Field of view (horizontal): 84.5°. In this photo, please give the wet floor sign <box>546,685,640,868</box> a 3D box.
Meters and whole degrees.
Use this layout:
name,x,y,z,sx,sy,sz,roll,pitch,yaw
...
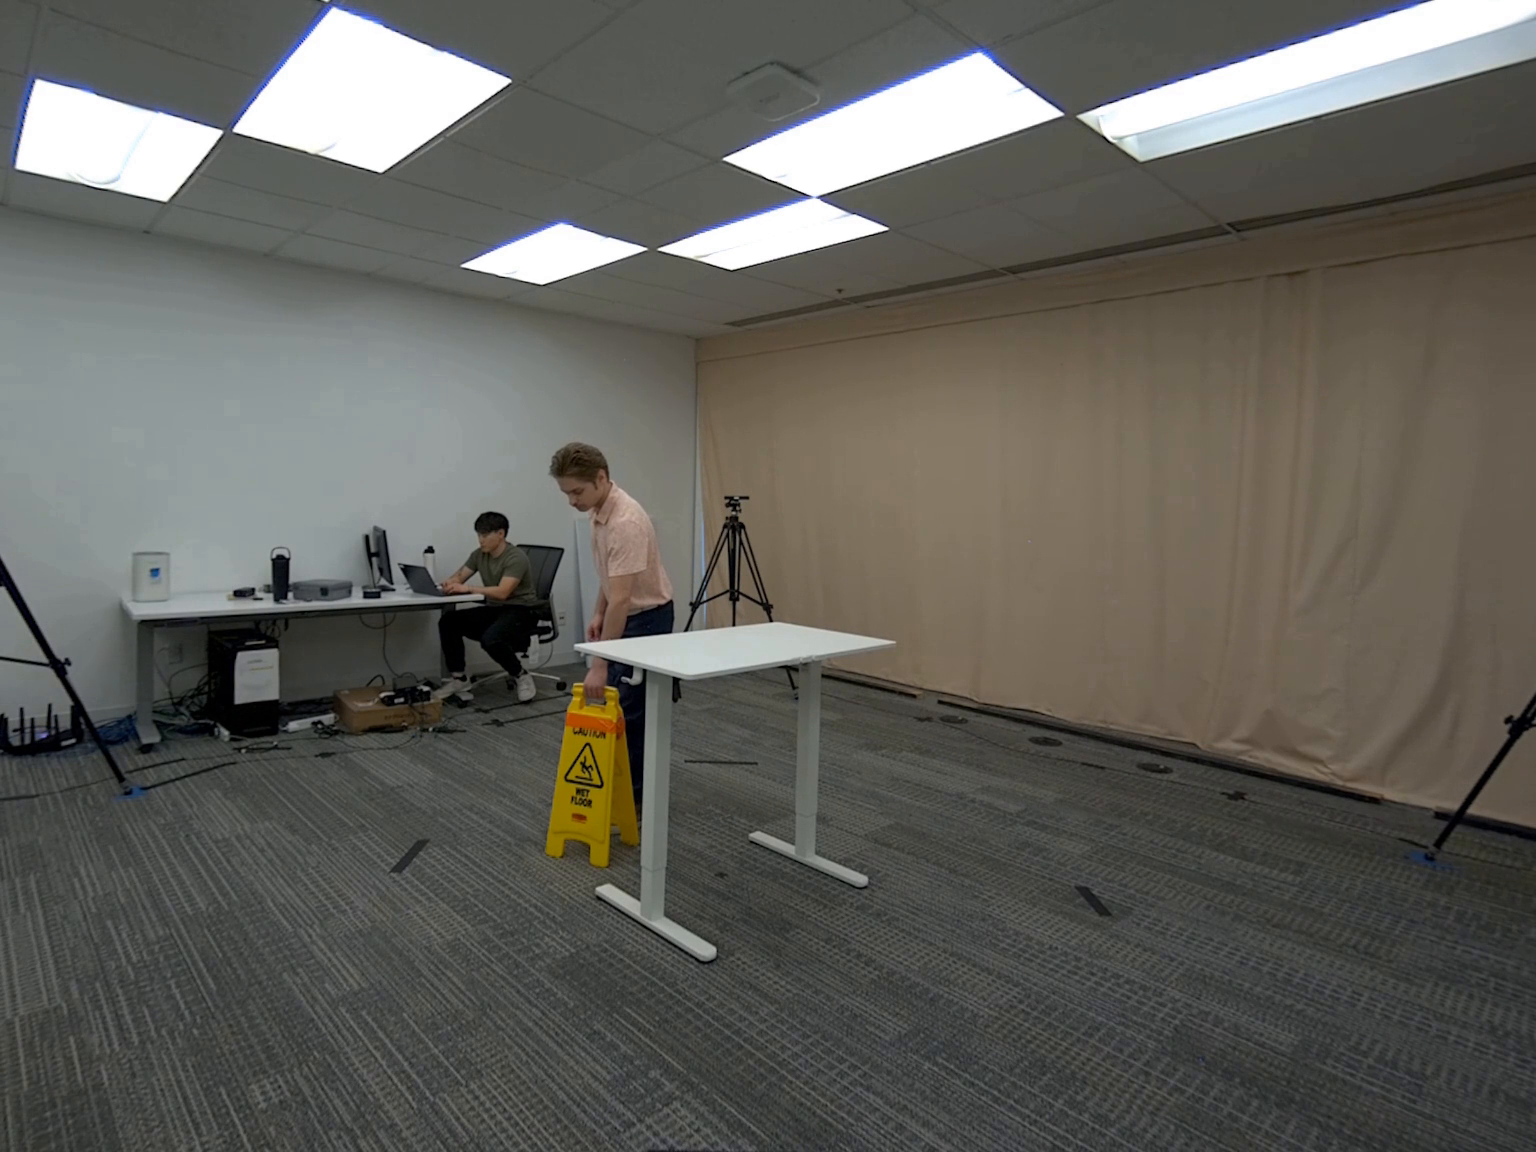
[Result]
name,x,y,z,sx,sy,sz,roll,pitch,yaw
wet floor sign,-0.684,0.751,3.290,0.287,0.644,0.286,5,5,18
